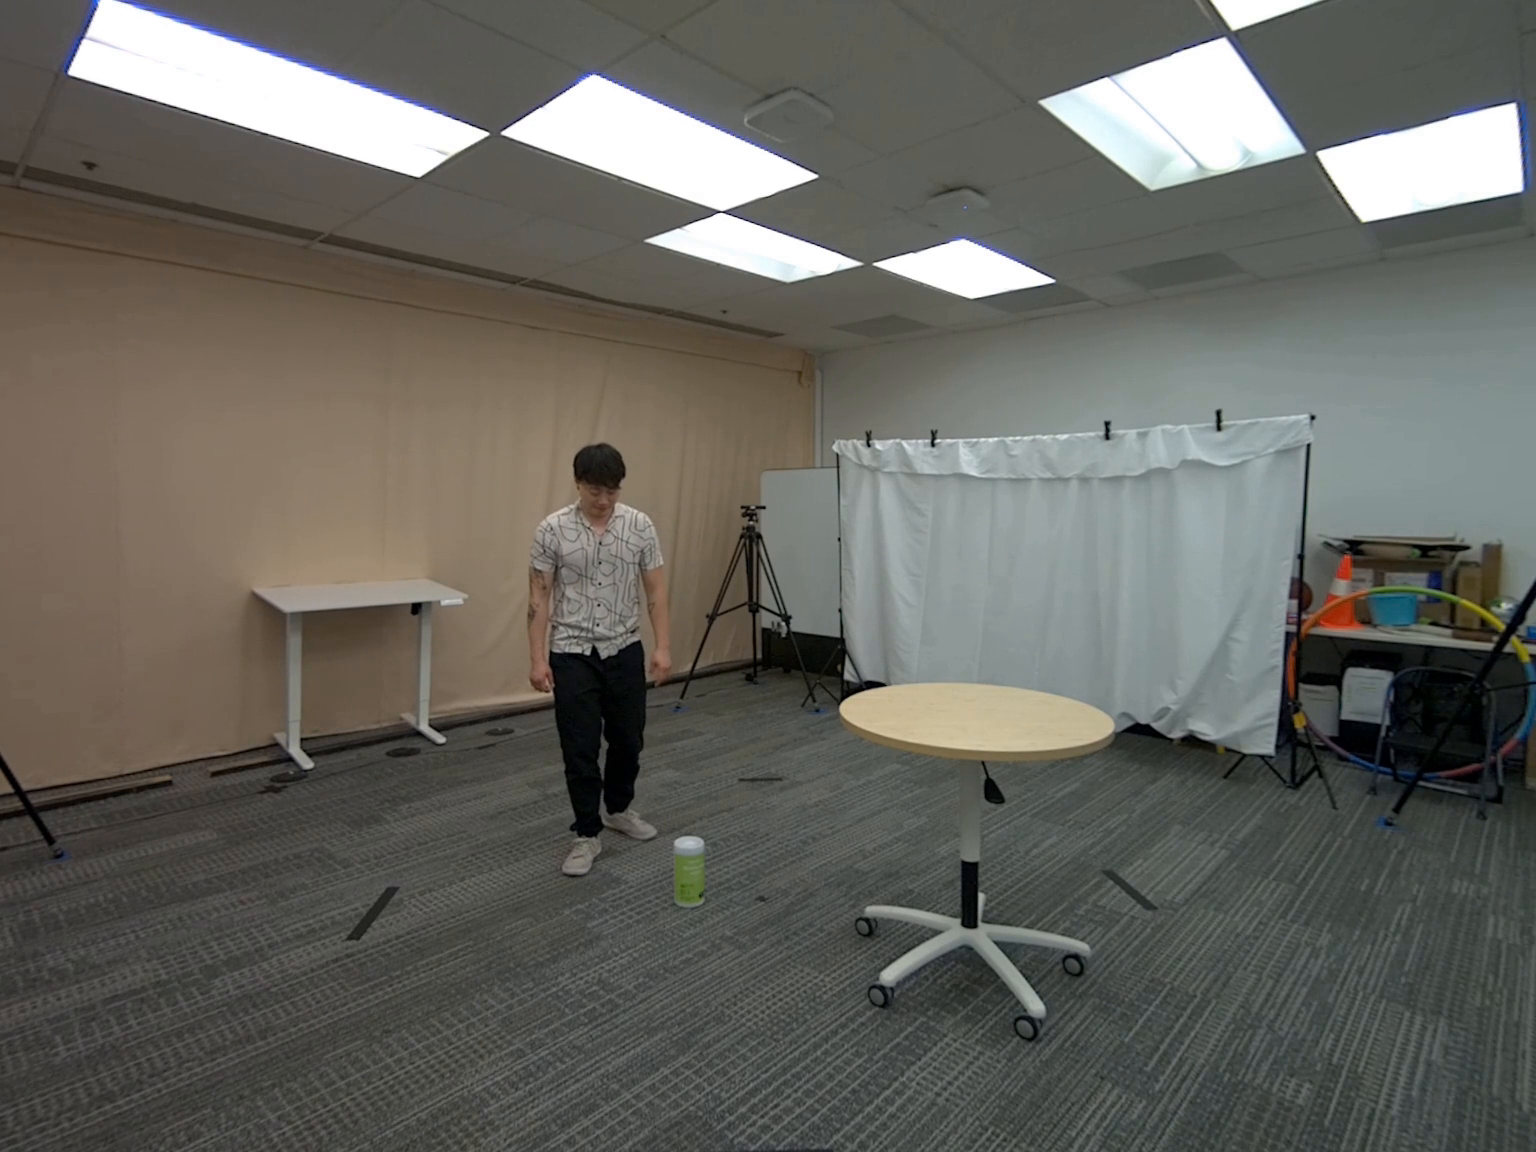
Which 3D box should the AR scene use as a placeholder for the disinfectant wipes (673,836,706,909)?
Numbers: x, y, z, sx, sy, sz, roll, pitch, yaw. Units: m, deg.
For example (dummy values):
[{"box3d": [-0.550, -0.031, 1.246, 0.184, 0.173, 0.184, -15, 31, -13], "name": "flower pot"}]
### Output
[{"box3d": [-0.282, 1.041, 2.958, 0.118, 0.217, 0.118, 1, 3, -2], "name": "disinfectant wipes"}]
